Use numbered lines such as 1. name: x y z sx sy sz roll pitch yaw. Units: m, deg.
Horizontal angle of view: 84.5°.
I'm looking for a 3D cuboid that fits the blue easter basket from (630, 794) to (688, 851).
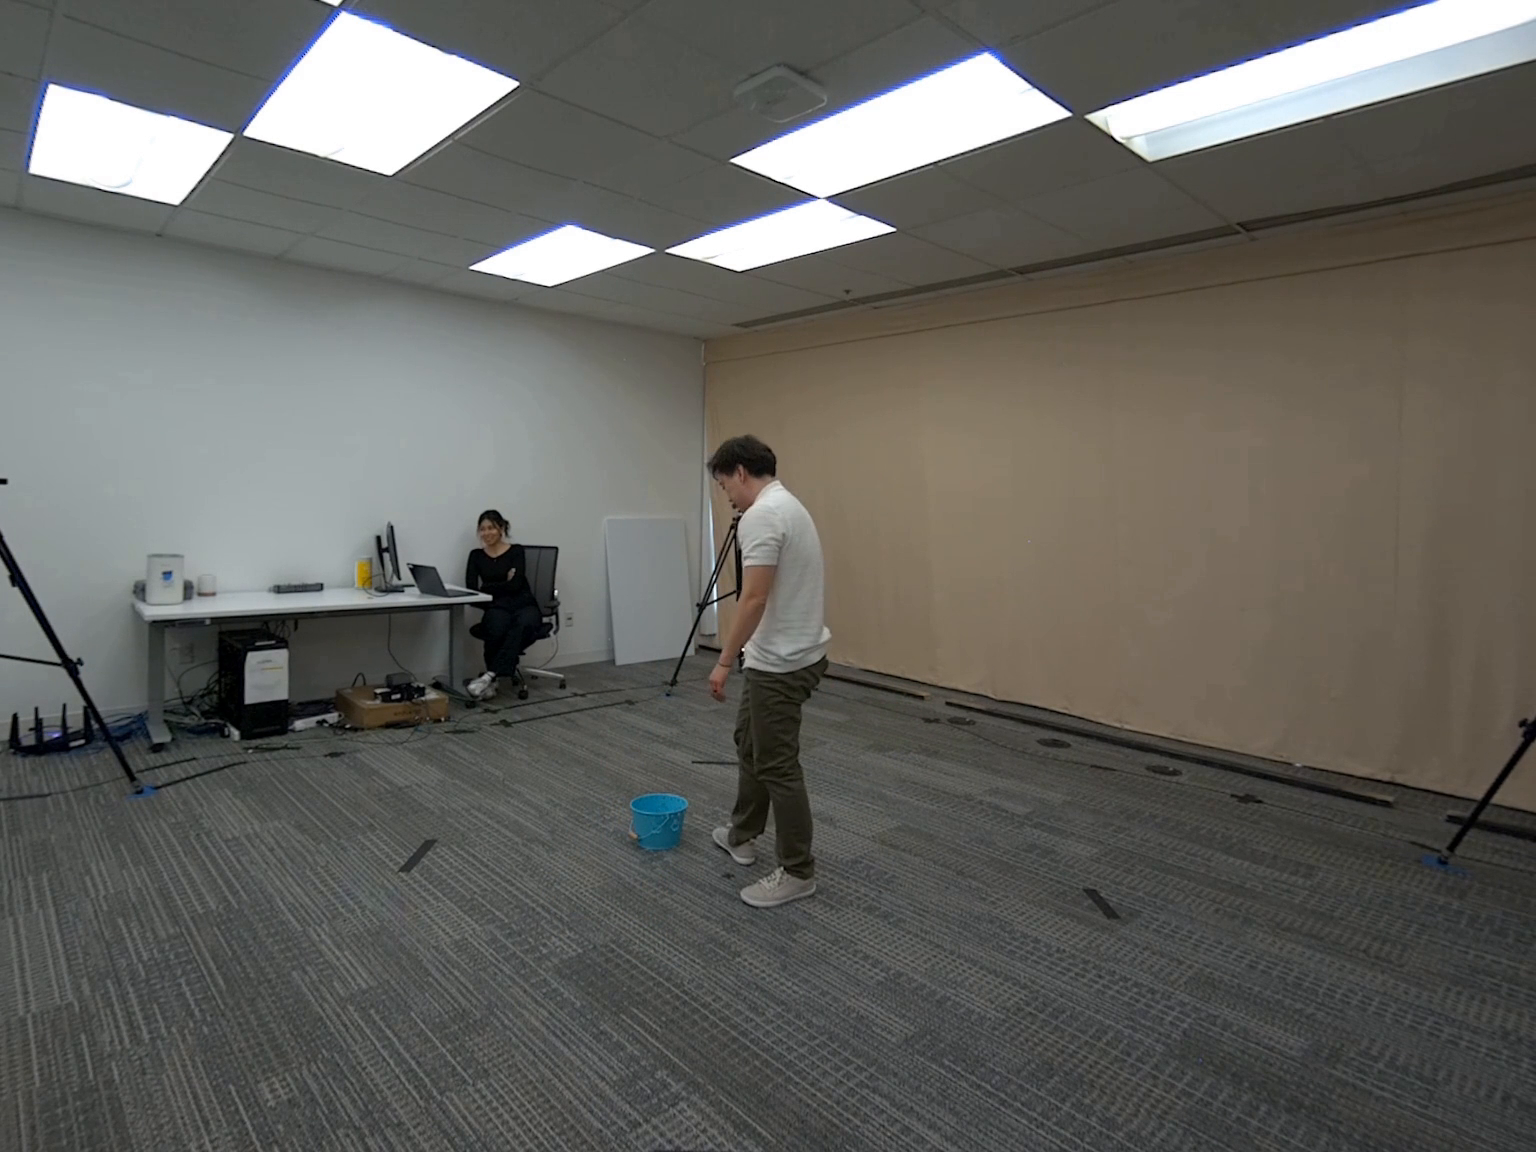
1. blue easter basket: -0.455 0.993 3.405 0.243 0.155 0.244 2 4 -1
